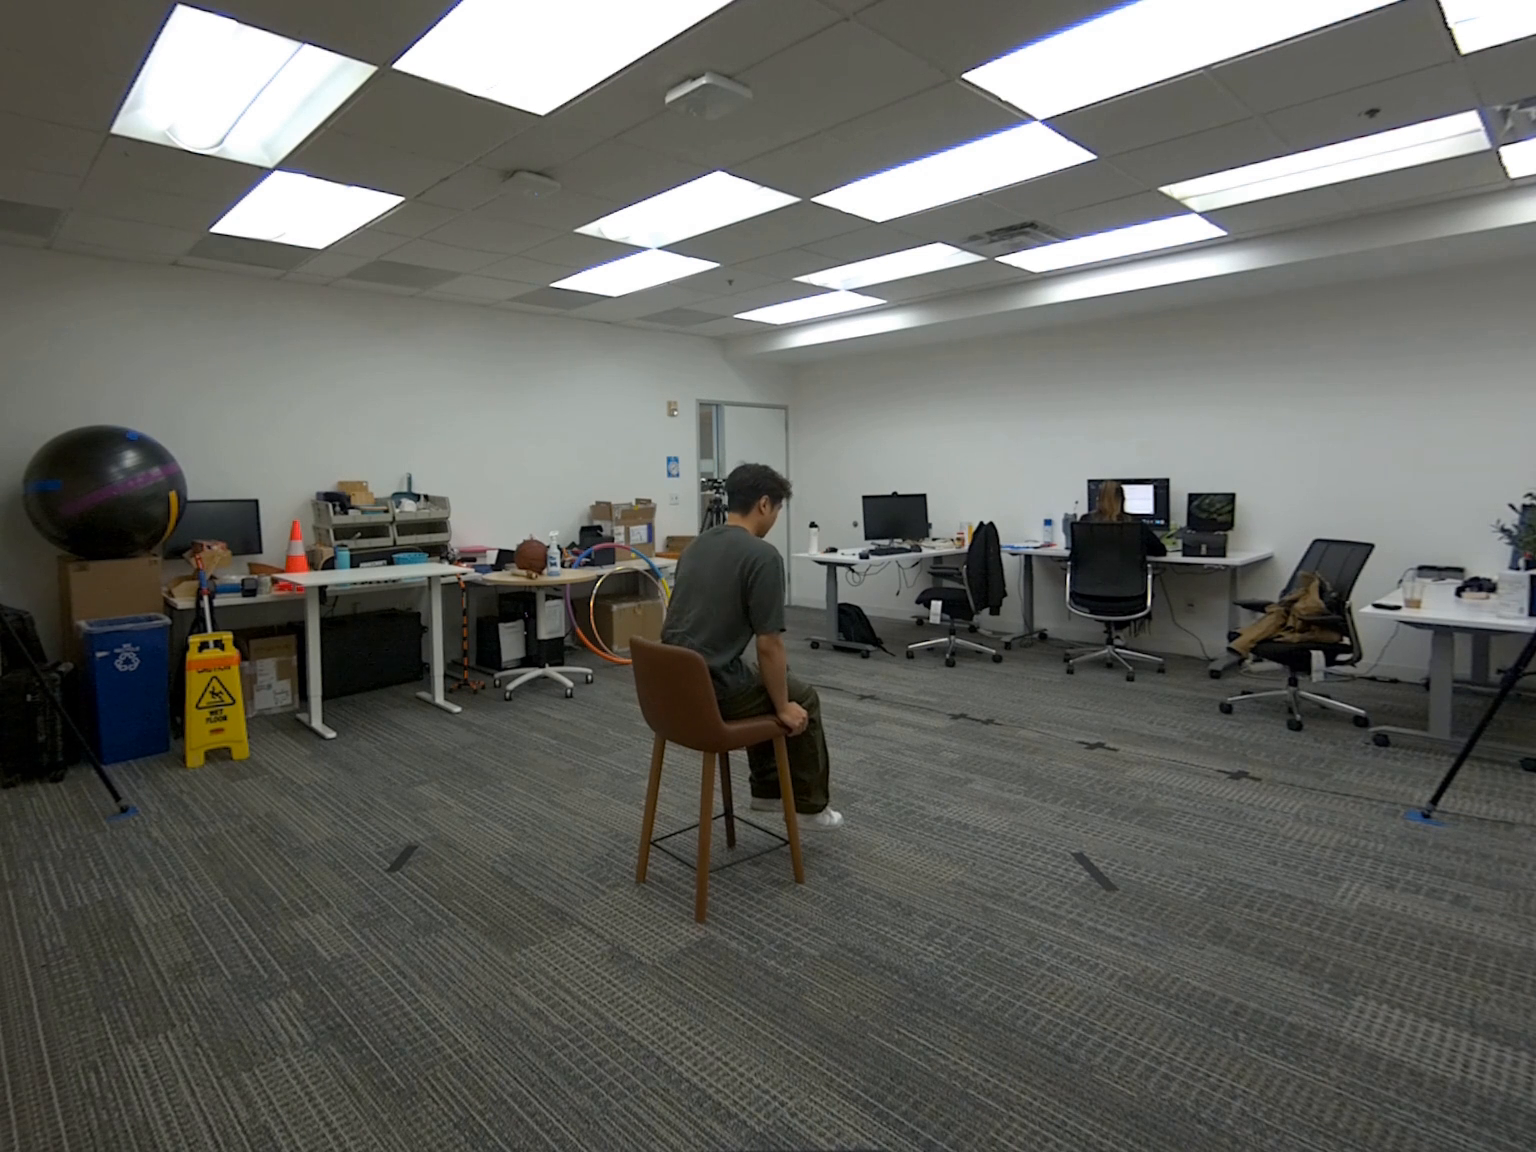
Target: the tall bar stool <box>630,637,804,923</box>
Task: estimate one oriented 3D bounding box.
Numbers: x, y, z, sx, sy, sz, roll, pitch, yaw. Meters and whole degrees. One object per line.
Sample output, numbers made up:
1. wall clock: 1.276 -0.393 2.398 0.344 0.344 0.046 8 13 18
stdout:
1. tall bar stool: -0.186 0.629 2.935 0.456 0.885 0.470 -7 7 -40
